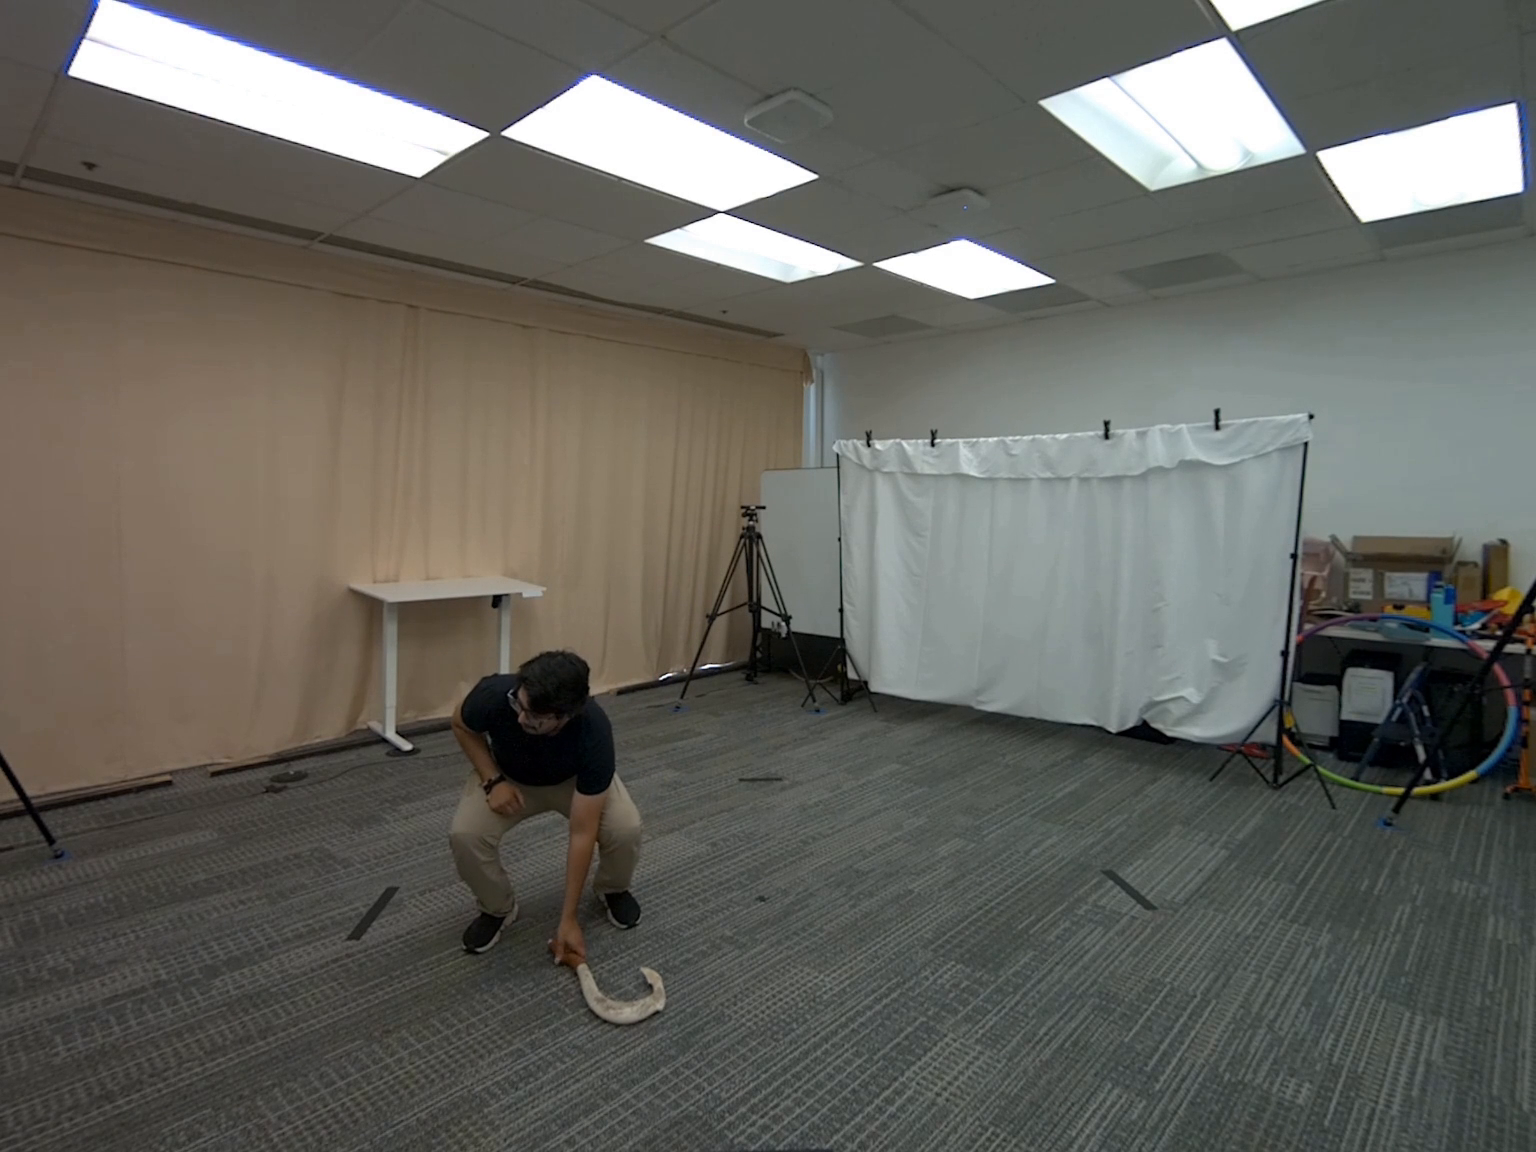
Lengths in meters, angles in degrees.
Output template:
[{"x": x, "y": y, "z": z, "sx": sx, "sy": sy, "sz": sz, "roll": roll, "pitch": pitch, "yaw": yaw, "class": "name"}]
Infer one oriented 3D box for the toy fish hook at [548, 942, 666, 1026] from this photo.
[{"x": -0.478, "y": 1.169, "z": 2.476, "sx": 0.217, "sy": 0.048, "sz": 0.523, "roll": 3, "pitch": 2, "yaw": -38, "class": "toy fish hook"}]
